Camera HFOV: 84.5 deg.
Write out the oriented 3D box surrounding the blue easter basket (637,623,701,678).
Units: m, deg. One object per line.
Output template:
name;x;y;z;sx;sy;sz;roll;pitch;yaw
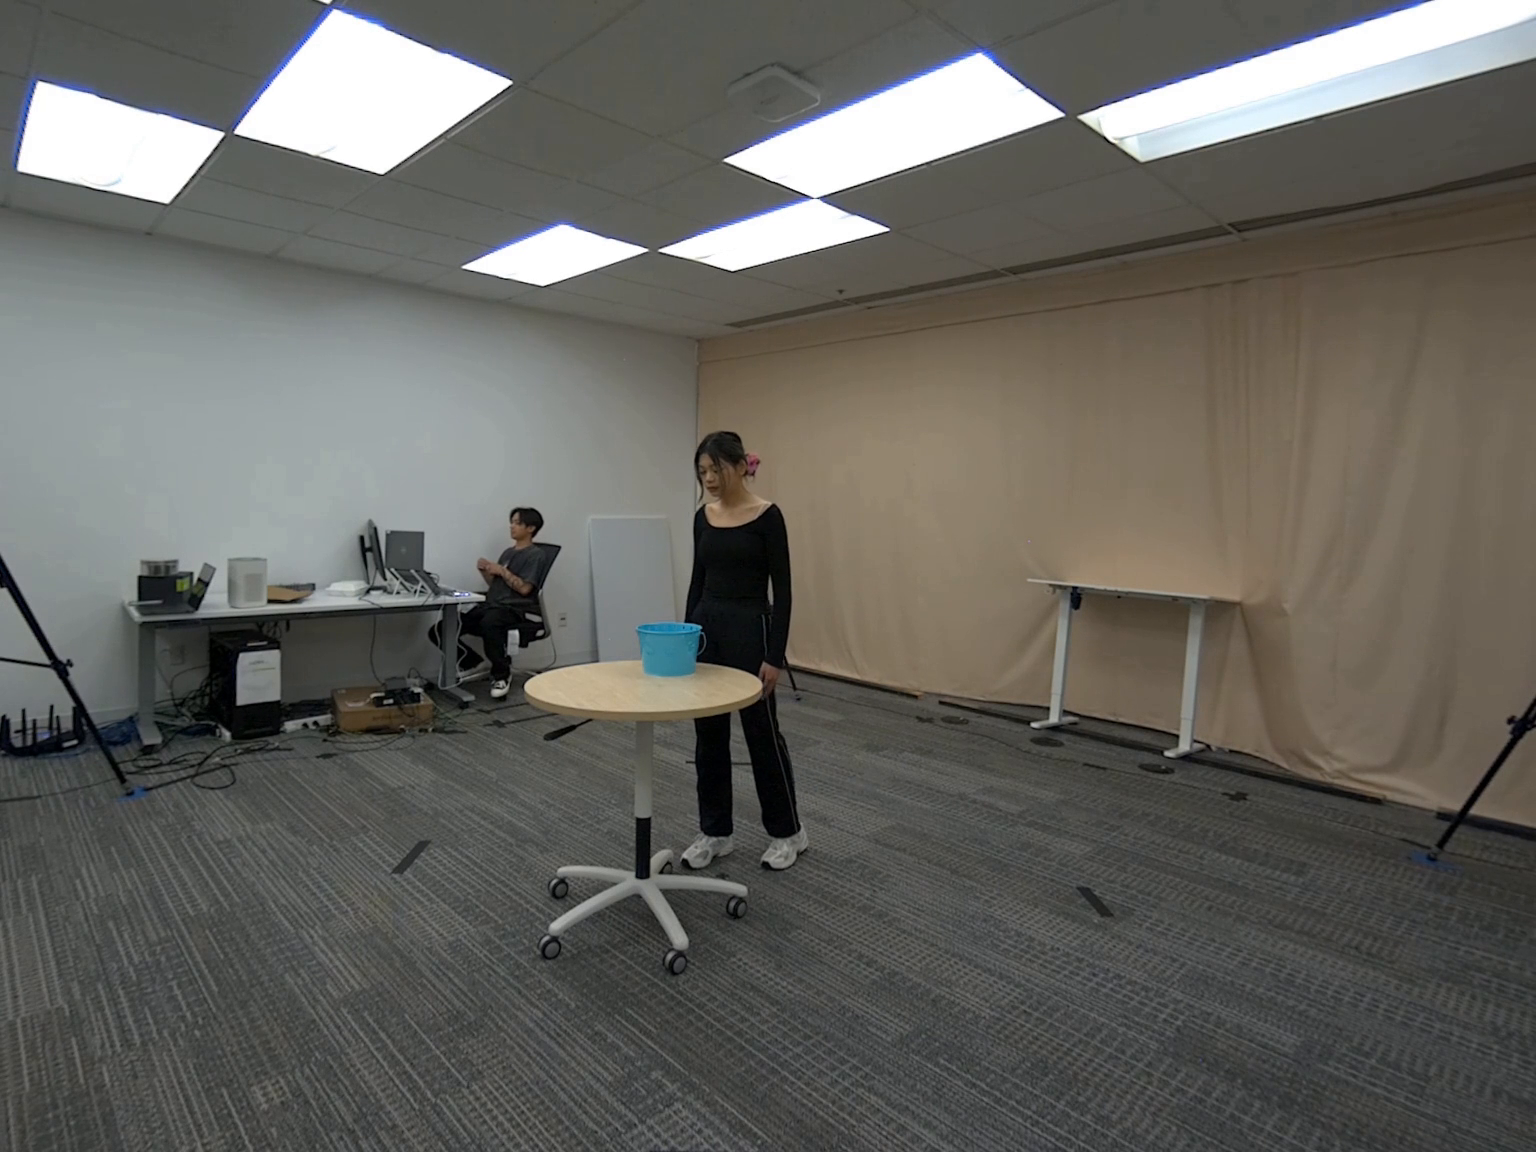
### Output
blue easter basket;-0.354;0.257;2.932;0.243;0.155;0.244;0;5;-1
